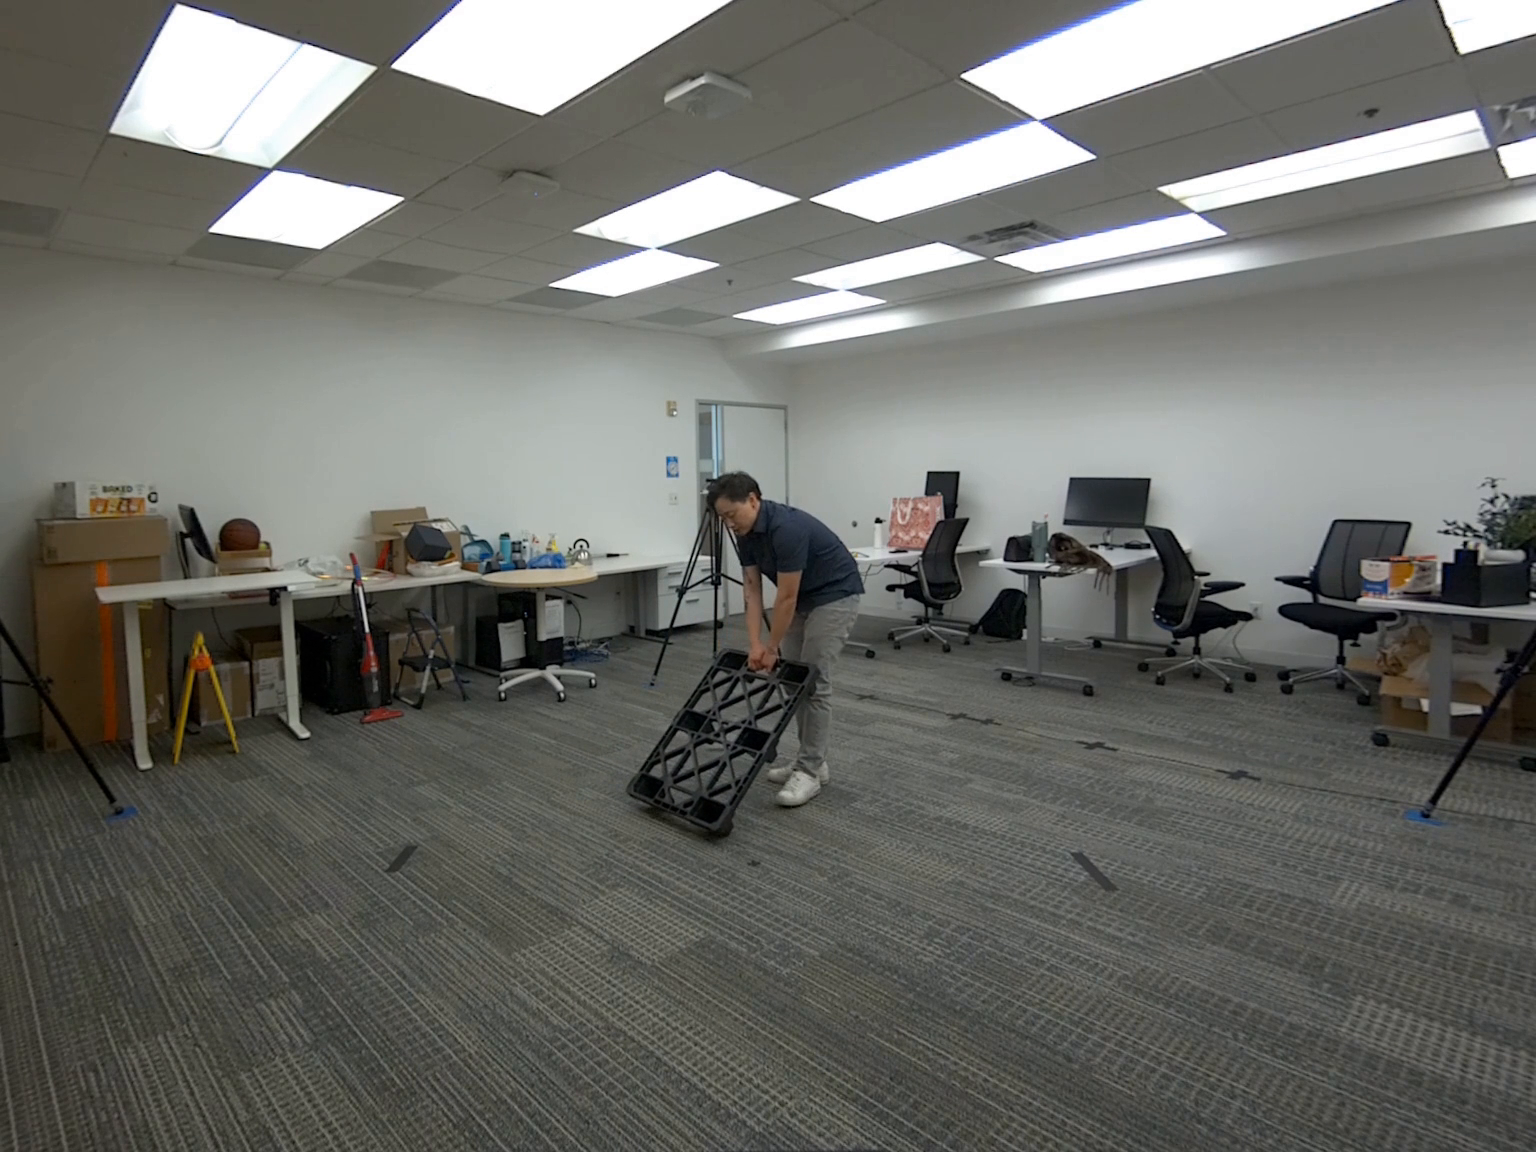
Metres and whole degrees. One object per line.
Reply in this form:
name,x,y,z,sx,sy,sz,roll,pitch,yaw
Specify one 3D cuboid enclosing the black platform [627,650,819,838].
black platform,-0.167,0.687,3.641,0.624,0.138,0.809,5,51,46
